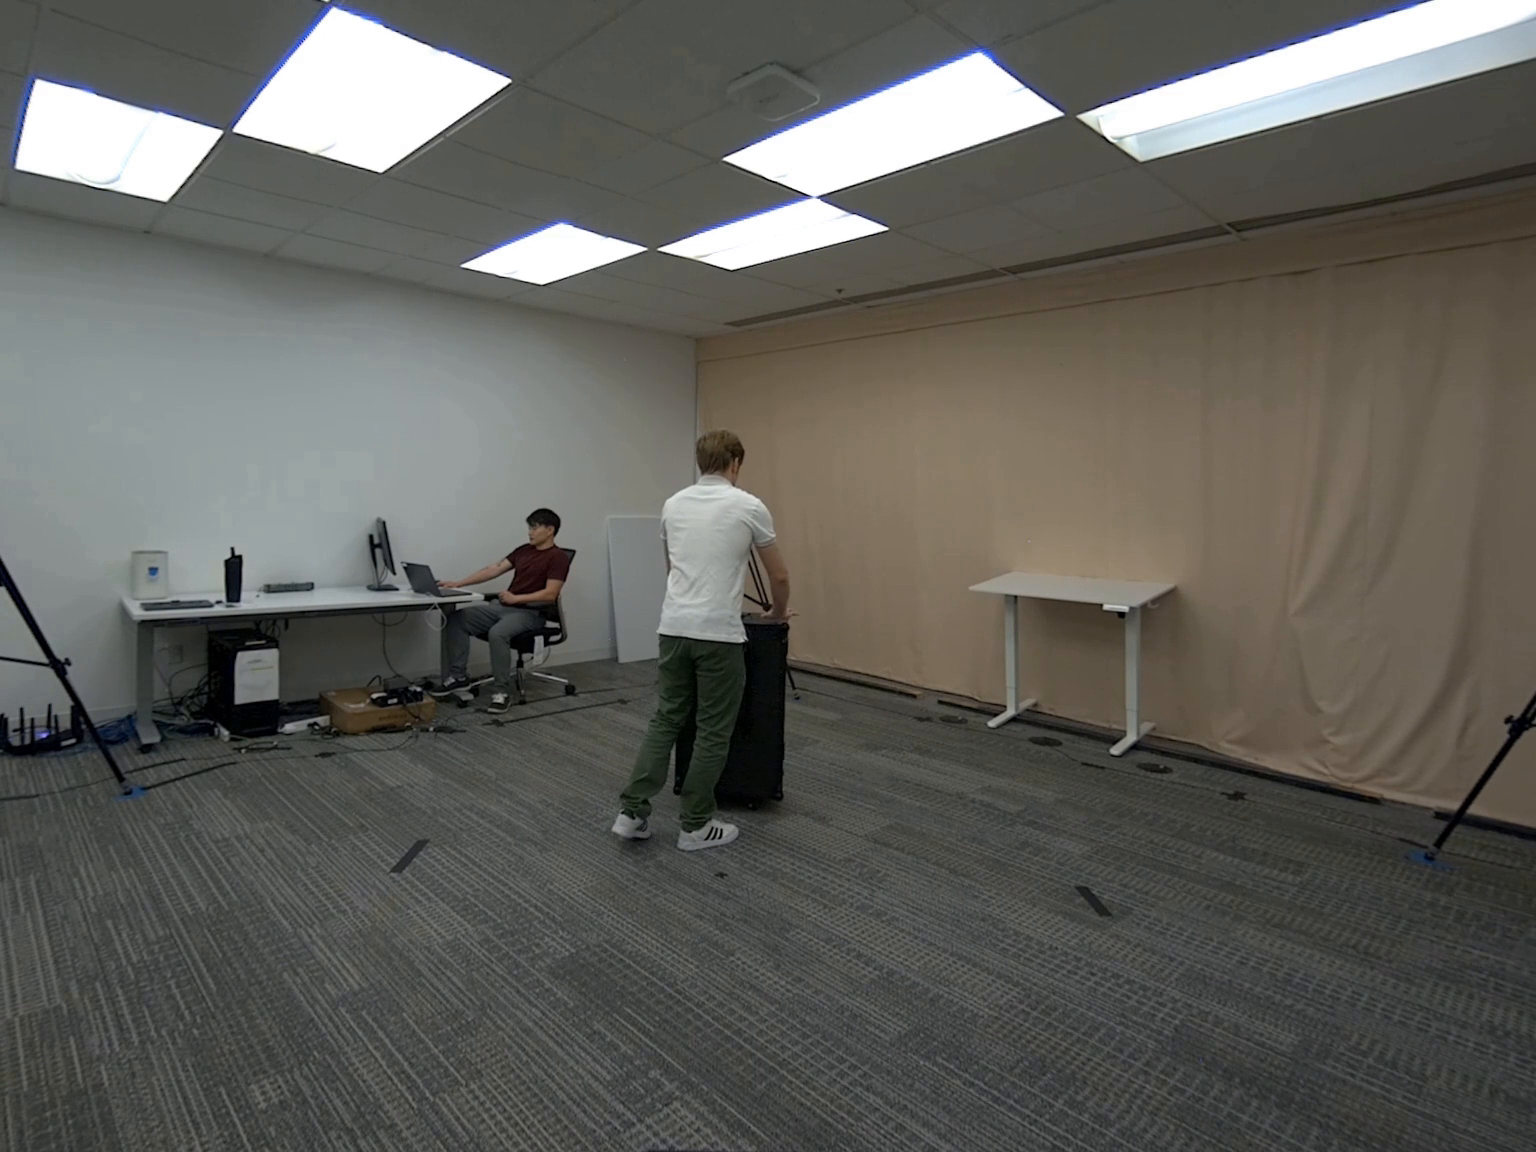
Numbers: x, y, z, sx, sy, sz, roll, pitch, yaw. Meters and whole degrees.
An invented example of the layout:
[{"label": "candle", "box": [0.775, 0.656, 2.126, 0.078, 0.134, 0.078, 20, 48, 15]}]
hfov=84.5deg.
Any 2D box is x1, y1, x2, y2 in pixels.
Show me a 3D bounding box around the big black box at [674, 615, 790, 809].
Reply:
[{"label": "big black box", "box": [-0.163, 0.611, 3.871, 0.525, 0.866, 0.385, 2, 4, 2]}]
